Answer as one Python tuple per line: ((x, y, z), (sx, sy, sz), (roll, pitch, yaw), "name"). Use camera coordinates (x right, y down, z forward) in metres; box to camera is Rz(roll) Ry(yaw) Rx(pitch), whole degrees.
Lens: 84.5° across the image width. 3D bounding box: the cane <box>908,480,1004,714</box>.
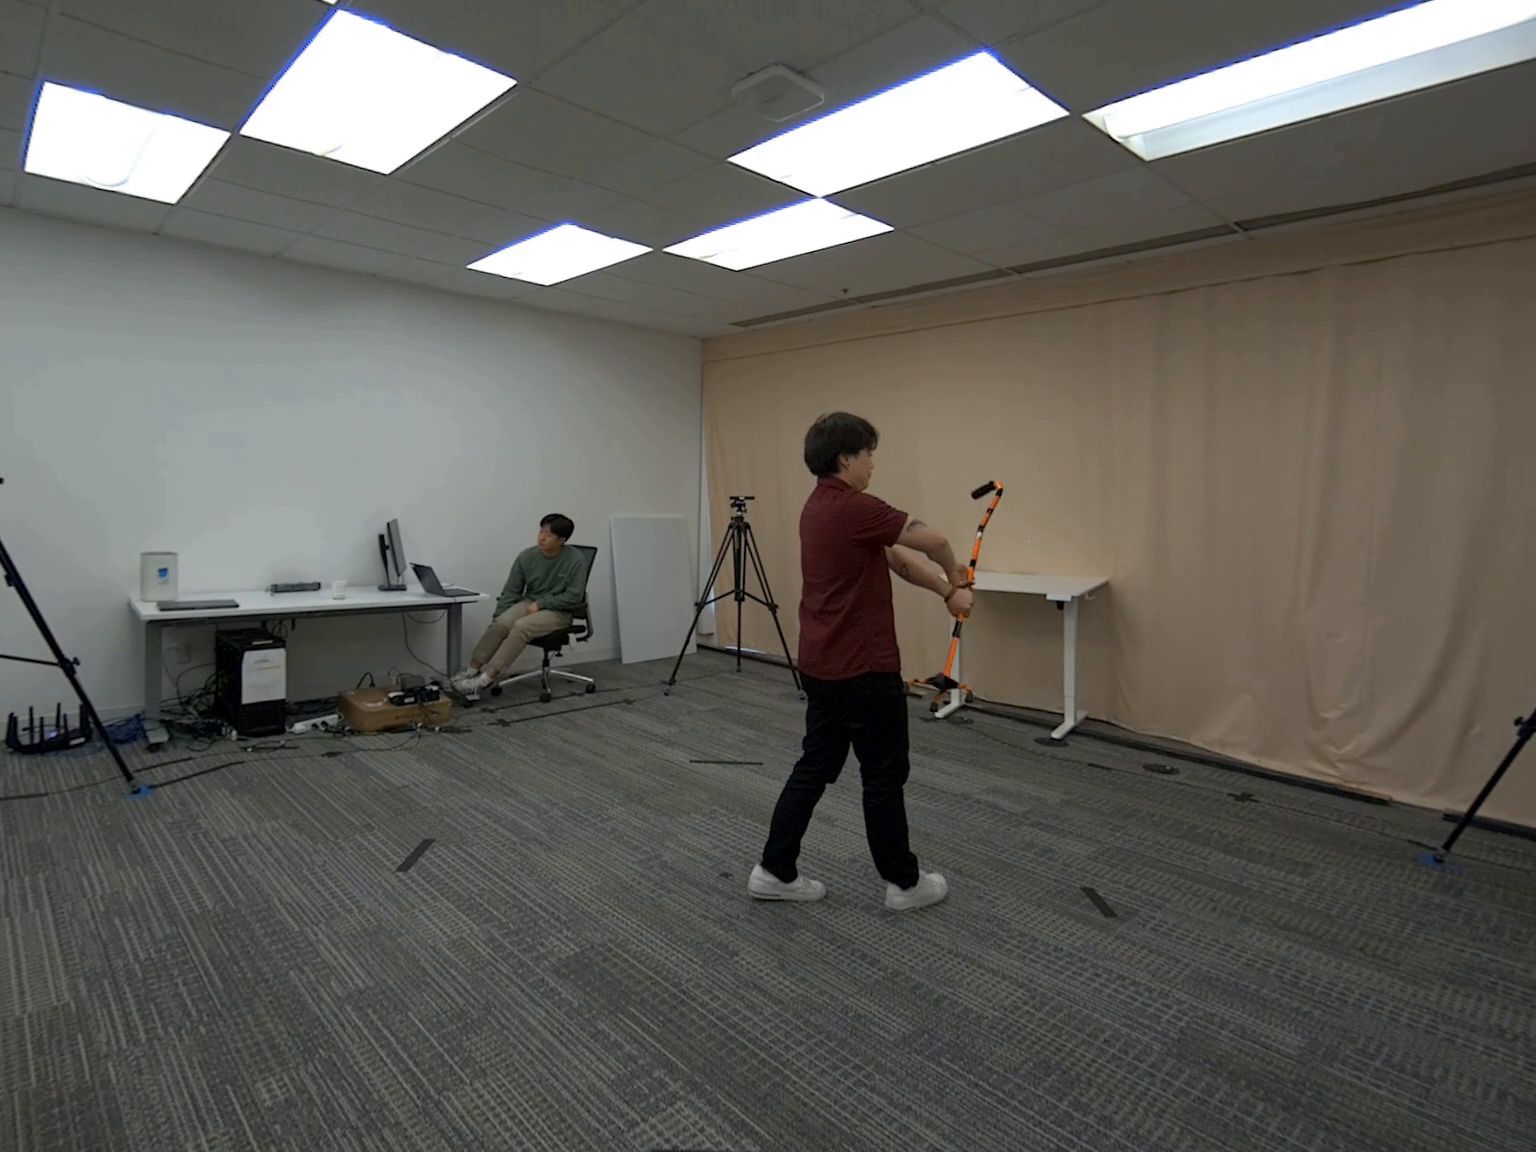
((0.682, 0.015, 2.931), (0.150, 0.917, 0.206), (26, -30, -12), "cane")
